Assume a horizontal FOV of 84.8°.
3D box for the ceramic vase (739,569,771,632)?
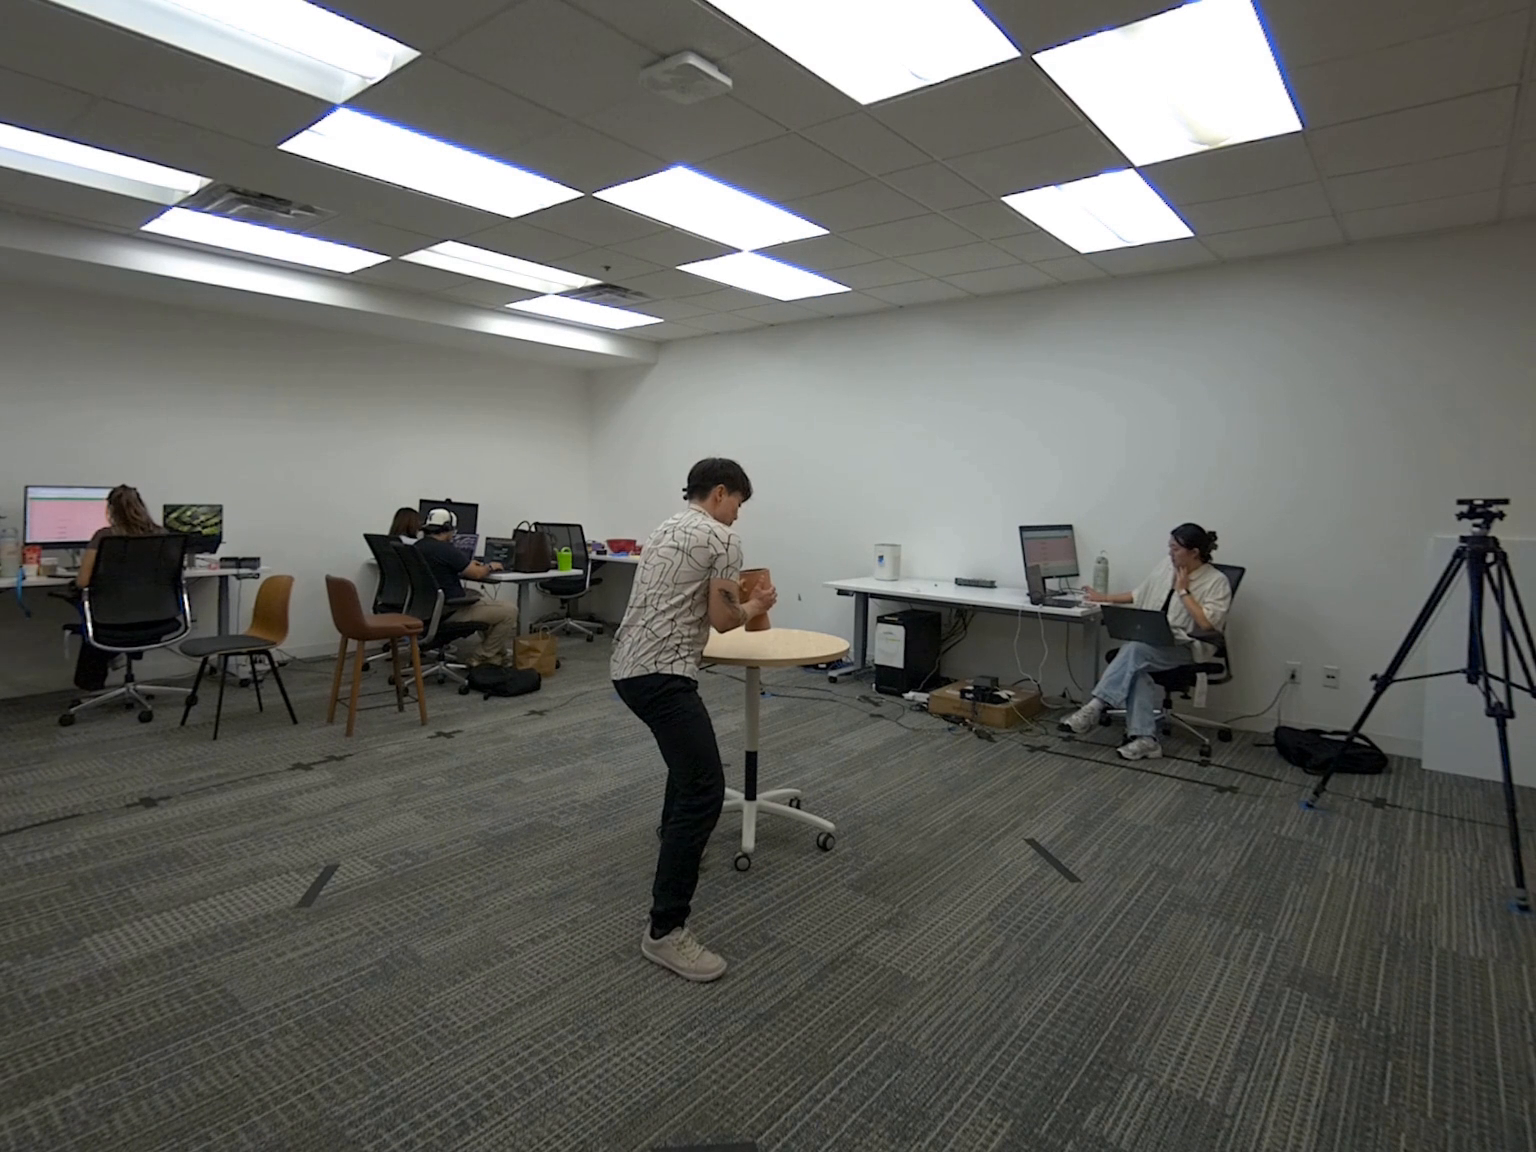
[{"bbox_3d":[-0.062,0.090,3.126,0.155,0.219,0.138,-6,4,-25],"label":"ceramic vase"}]
